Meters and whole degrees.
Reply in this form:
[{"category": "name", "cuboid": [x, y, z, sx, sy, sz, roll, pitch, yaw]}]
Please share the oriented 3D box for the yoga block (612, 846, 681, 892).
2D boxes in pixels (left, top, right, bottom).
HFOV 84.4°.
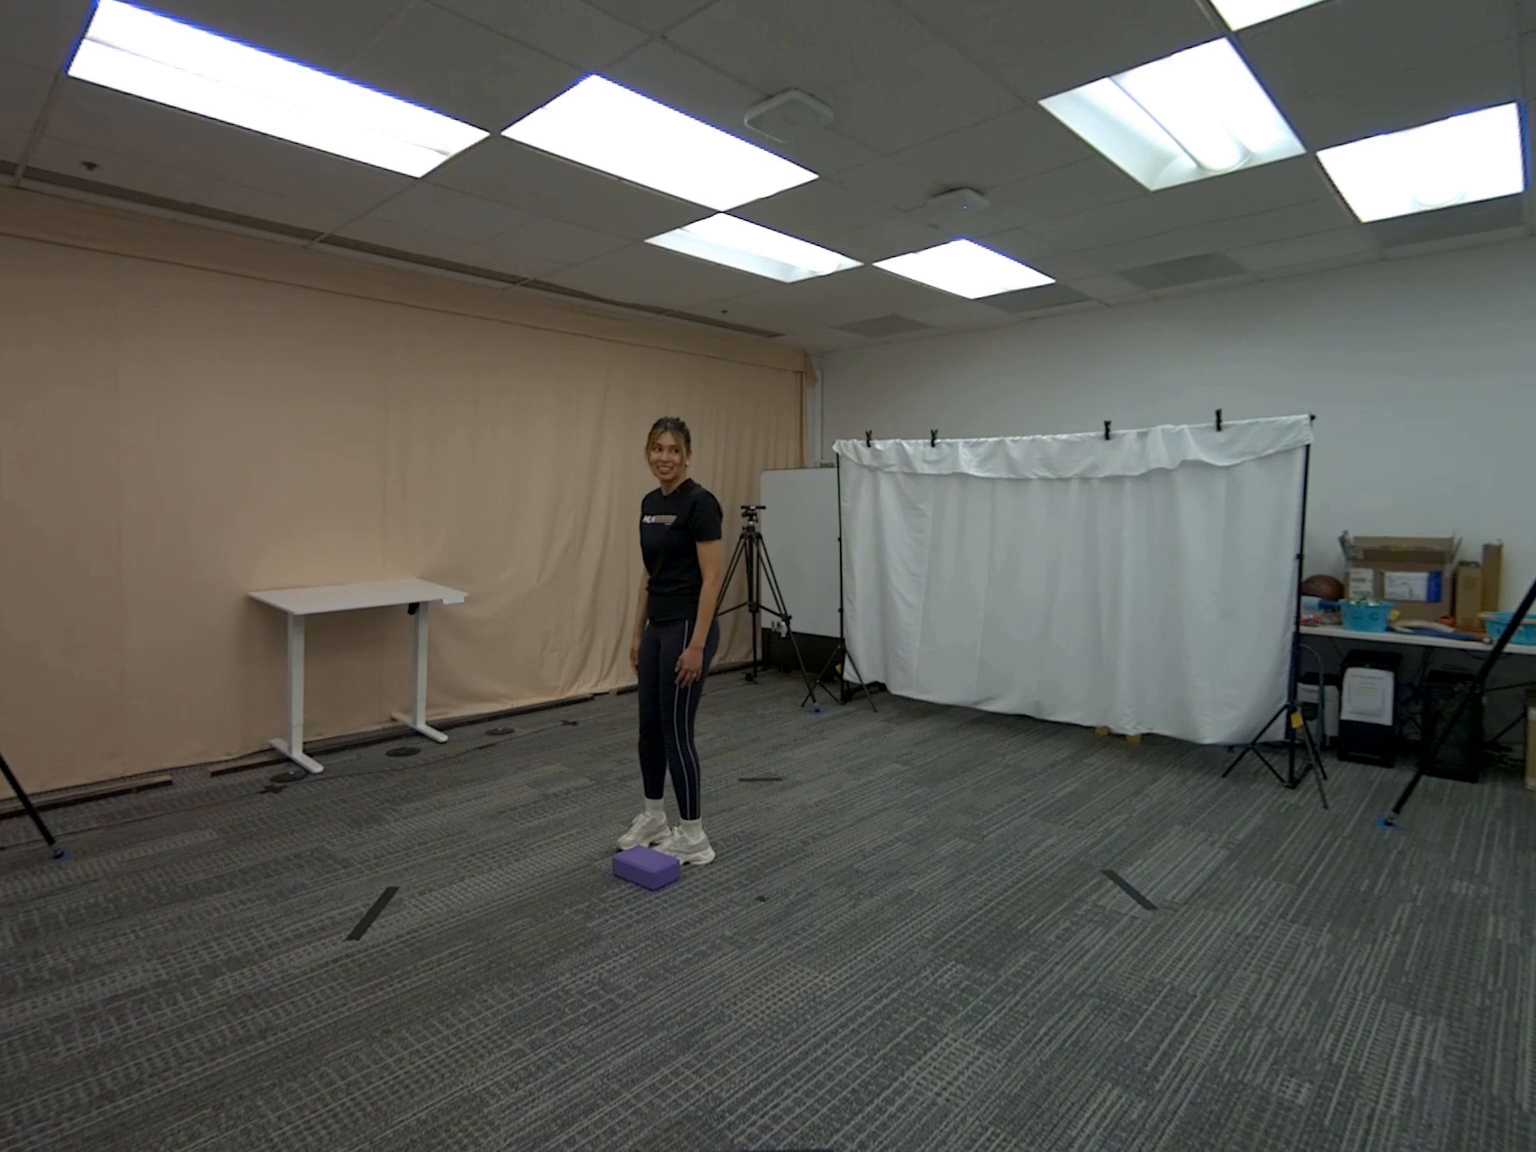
[{"category": "yoga block", "cuboid": [-0.458, 1.085, 3.165, 0.237, 0.076, 0.145, 5, 7, 37]}]
